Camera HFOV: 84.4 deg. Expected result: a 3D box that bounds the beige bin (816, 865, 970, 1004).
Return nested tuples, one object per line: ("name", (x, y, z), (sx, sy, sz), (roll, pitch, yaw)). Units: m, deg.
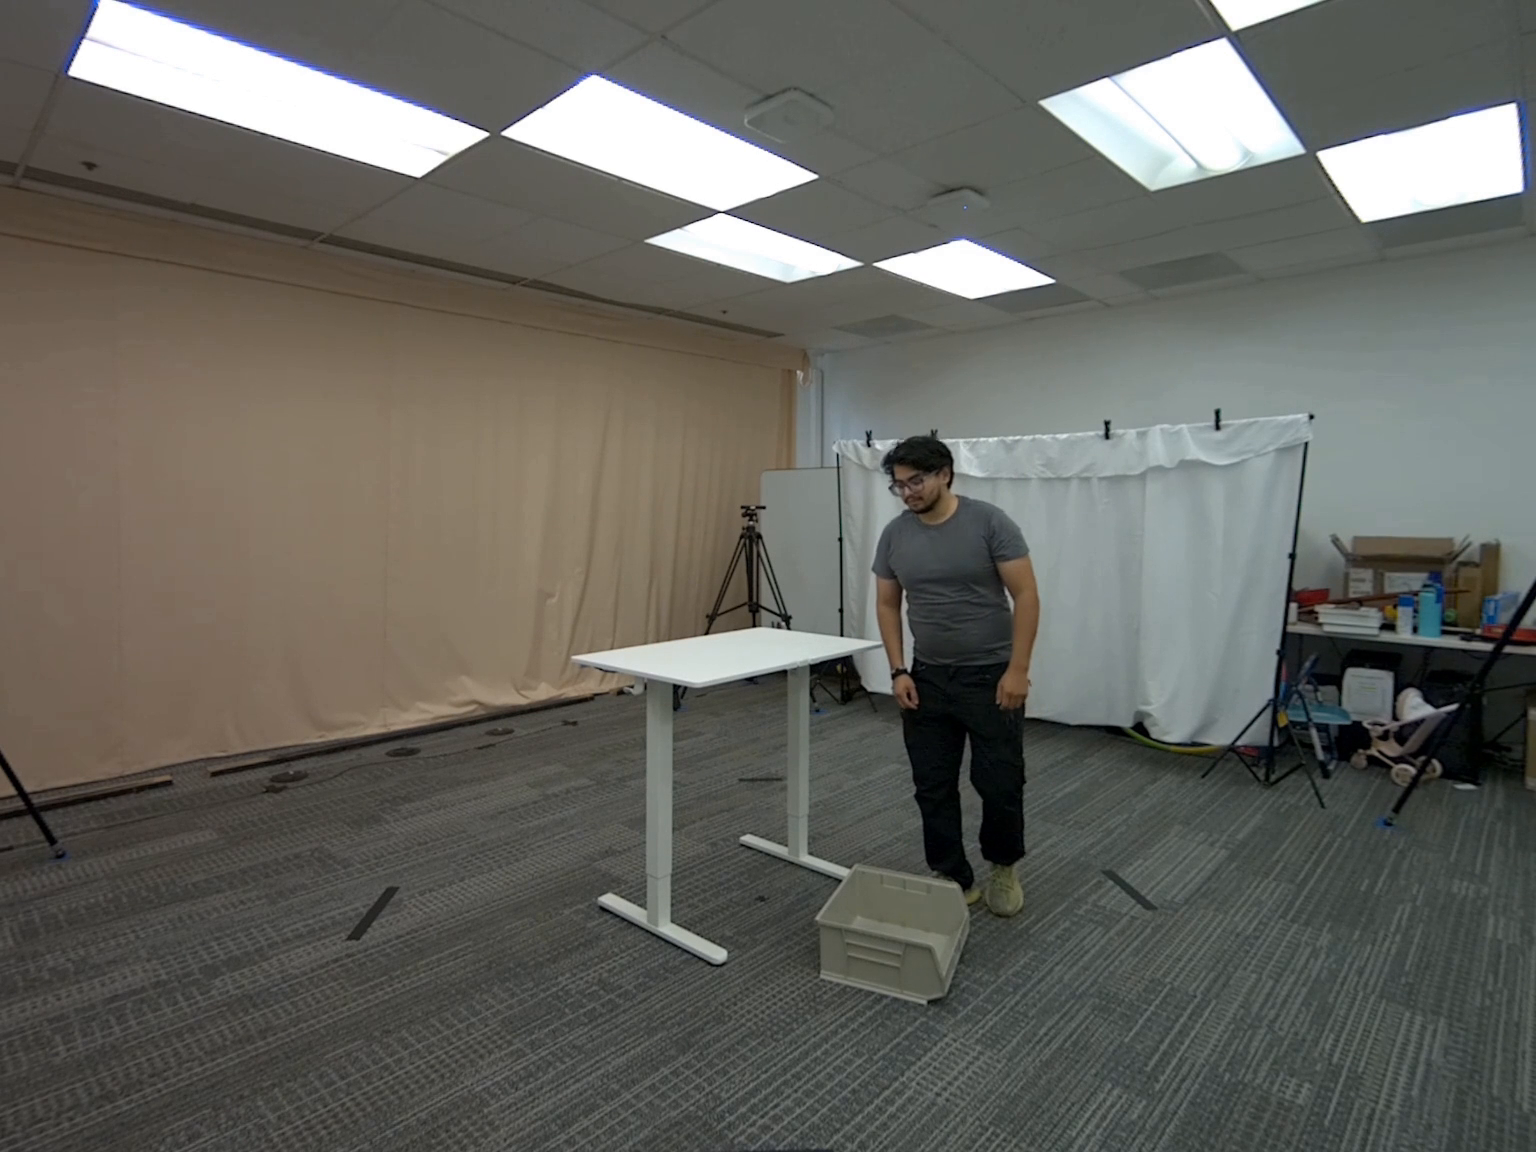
("beige bin", (0.400, 1.090, 2.585), (0.386, 0.188, 0.413), (1, 5, 23))
